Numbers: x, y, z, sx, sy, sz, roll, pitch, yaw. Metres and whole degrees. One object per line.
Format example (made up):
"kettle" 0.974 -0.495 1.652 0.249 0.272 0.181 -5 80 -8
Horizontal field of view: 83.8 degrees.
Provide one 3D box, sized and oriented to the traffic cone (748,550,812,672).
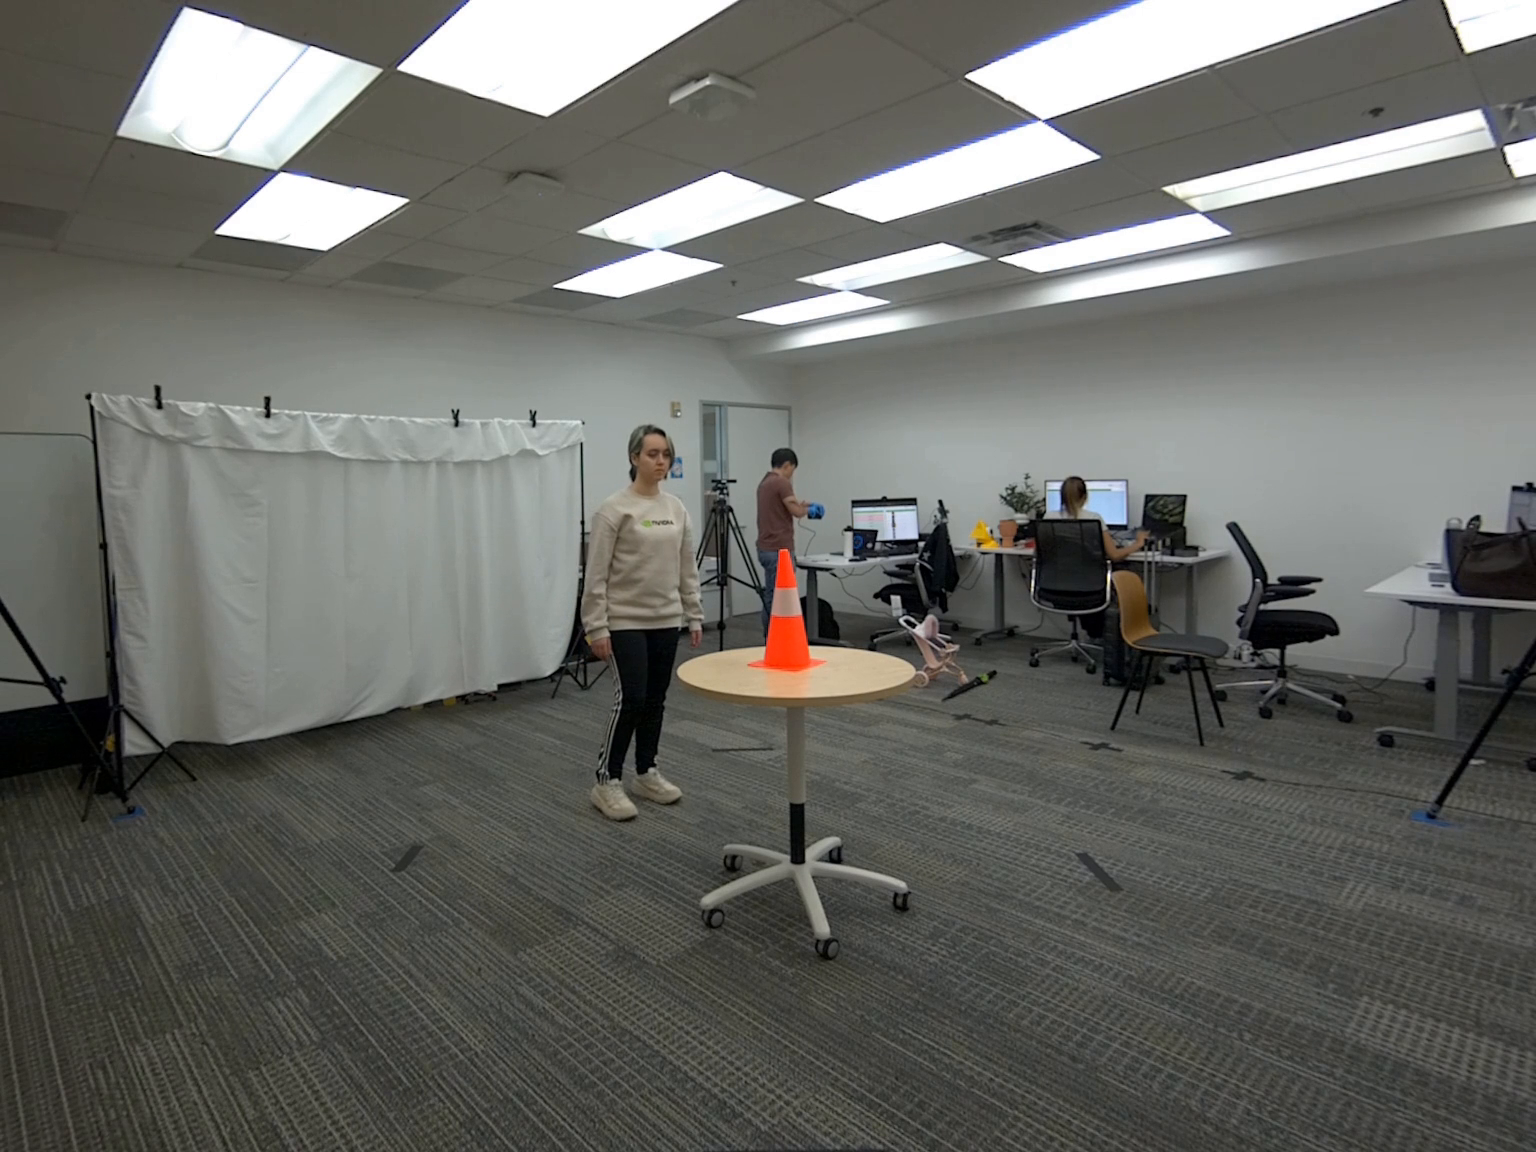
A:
"traffic cone" 0.061 0.107 2.829 0.209 0.382 0.200 1 5 34
